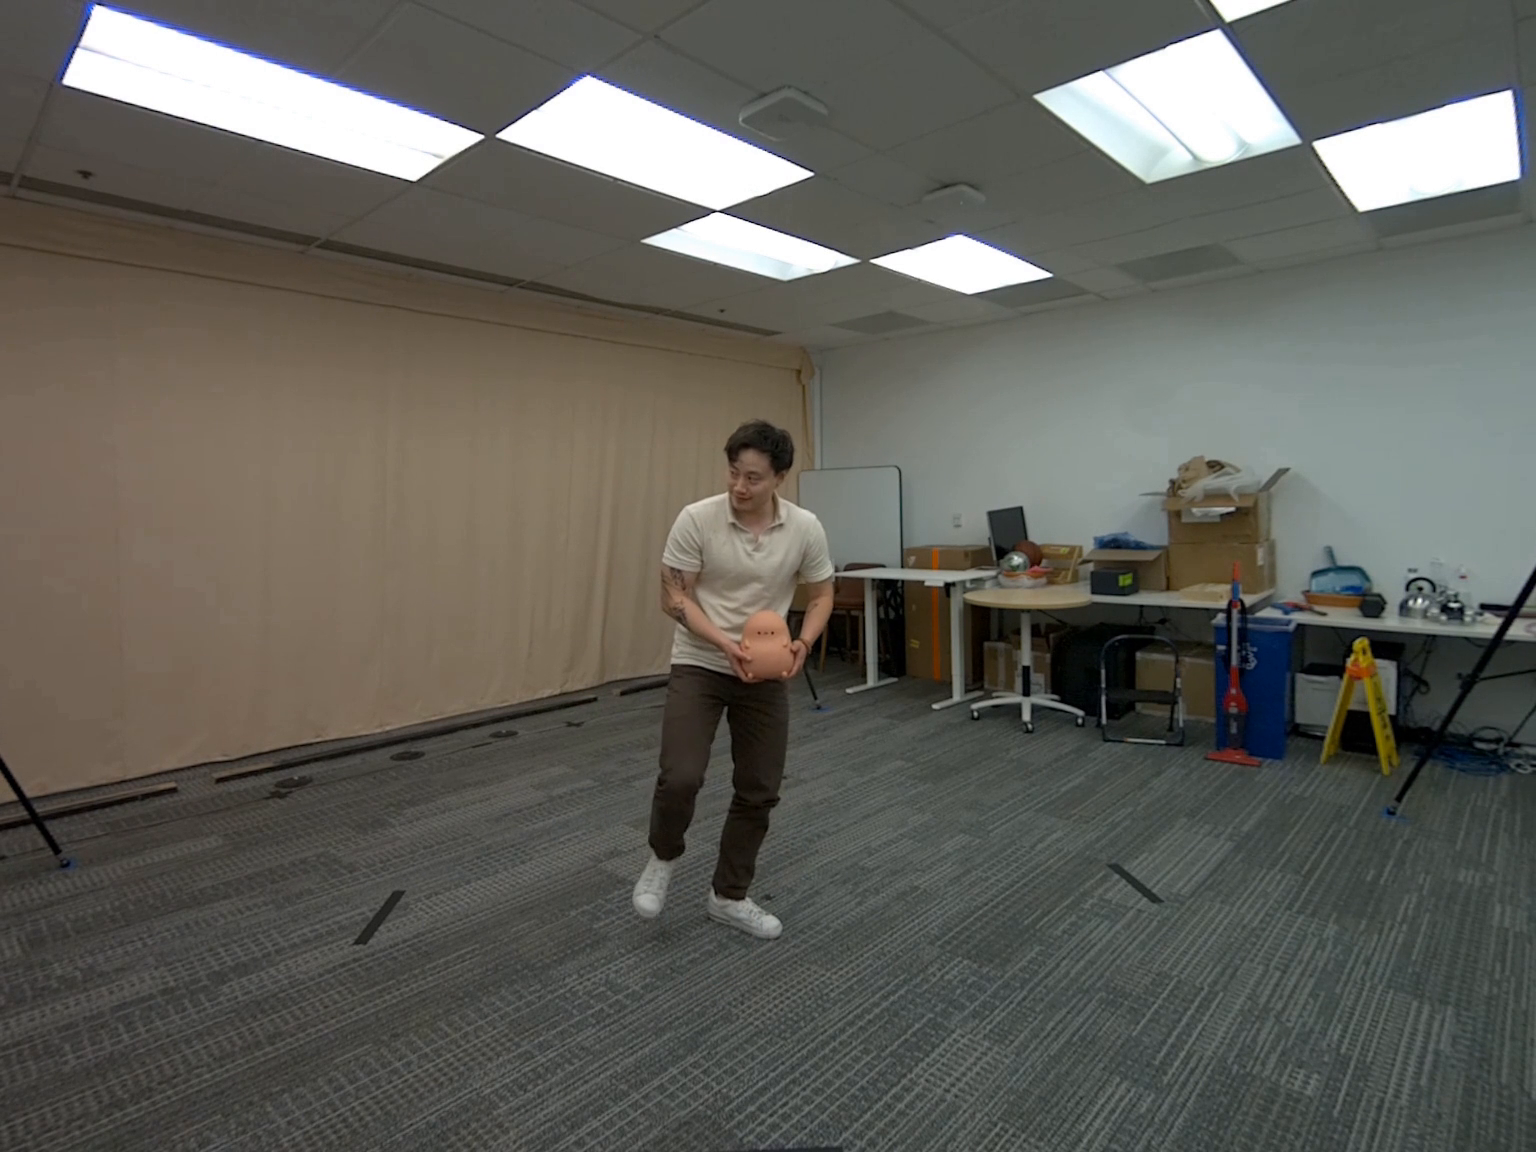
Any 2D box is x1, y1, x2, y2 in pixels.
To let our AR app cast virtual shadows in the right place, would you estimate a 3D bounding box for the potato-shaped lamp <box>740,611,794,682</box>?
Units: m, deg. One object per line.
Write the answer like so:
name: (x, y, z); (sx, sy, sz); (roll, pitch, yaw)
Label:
potato-shaped lamp: (-0.005, 0.205, 2.550); (0.166, 0.197, 0.171); (-2, 7, 4)
